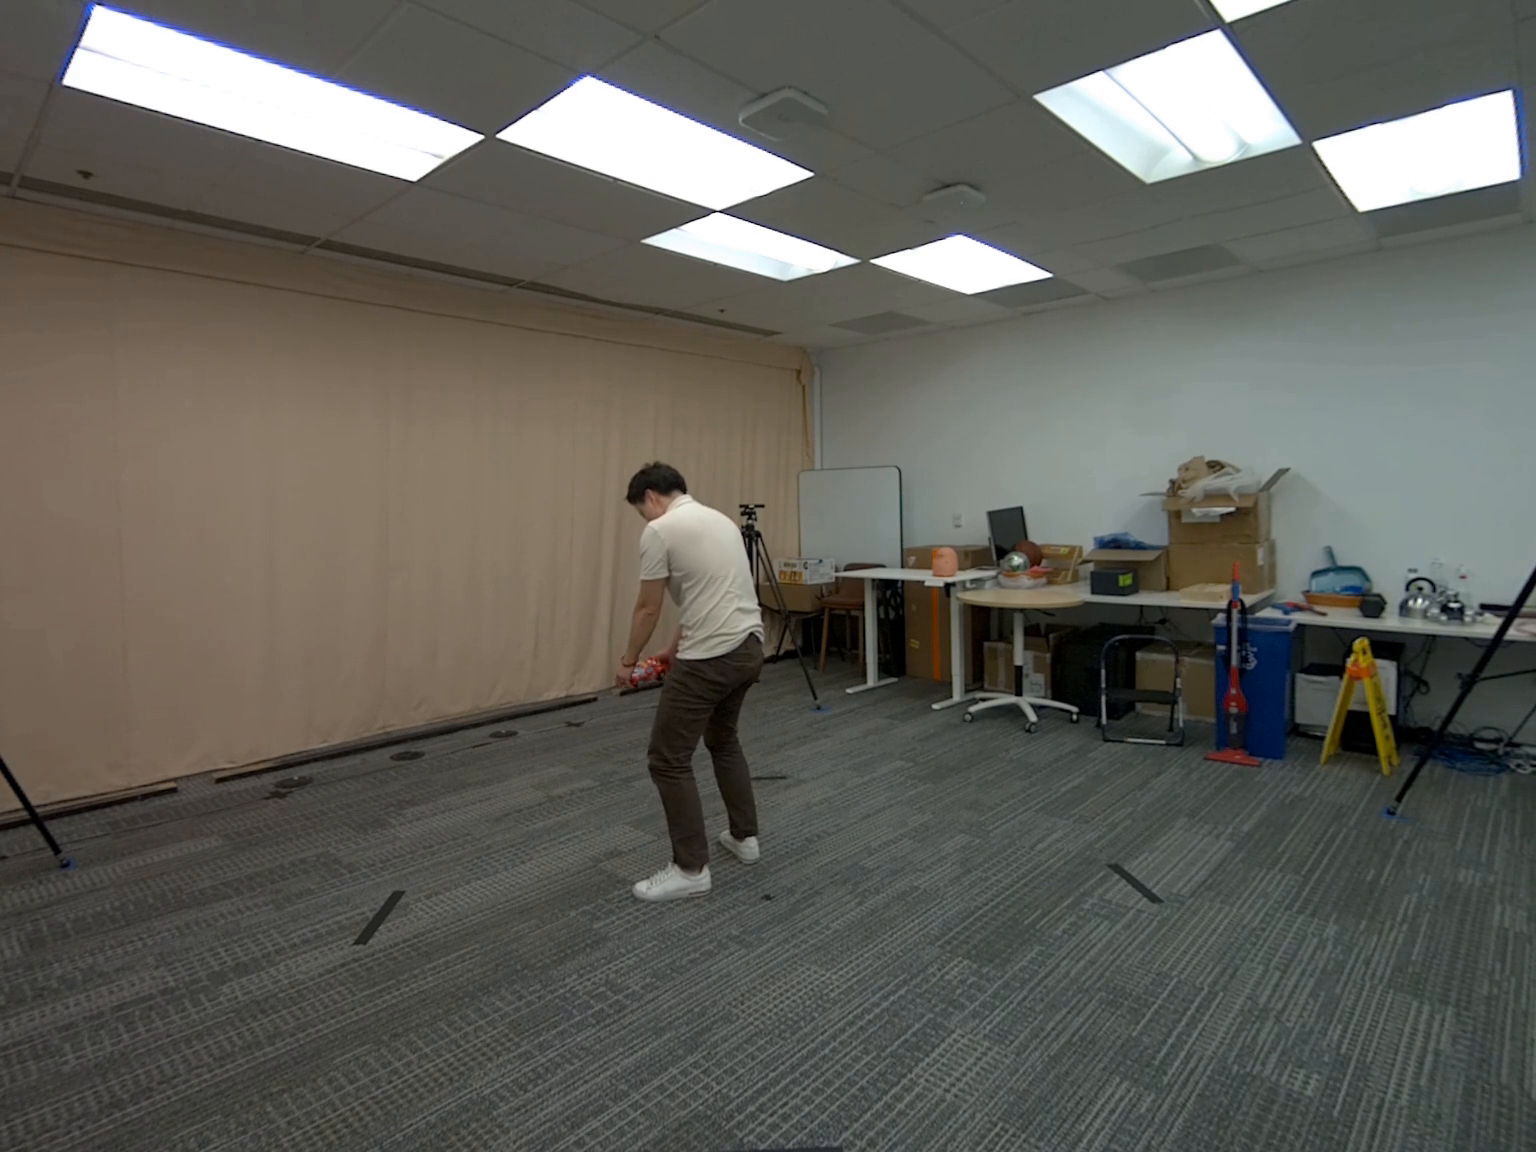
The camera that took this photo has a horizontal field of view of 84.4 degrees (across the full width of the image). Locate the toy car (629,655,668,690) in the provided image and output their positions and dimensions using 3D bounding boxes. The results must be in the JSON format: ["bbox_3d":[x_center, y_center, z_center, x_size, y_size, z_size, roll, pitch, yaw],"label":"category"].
[{"bbox_3d":[-0.494,0.393,3.354,0.134,0.082,0.250,7,19,27],"label":"toy car"}]
